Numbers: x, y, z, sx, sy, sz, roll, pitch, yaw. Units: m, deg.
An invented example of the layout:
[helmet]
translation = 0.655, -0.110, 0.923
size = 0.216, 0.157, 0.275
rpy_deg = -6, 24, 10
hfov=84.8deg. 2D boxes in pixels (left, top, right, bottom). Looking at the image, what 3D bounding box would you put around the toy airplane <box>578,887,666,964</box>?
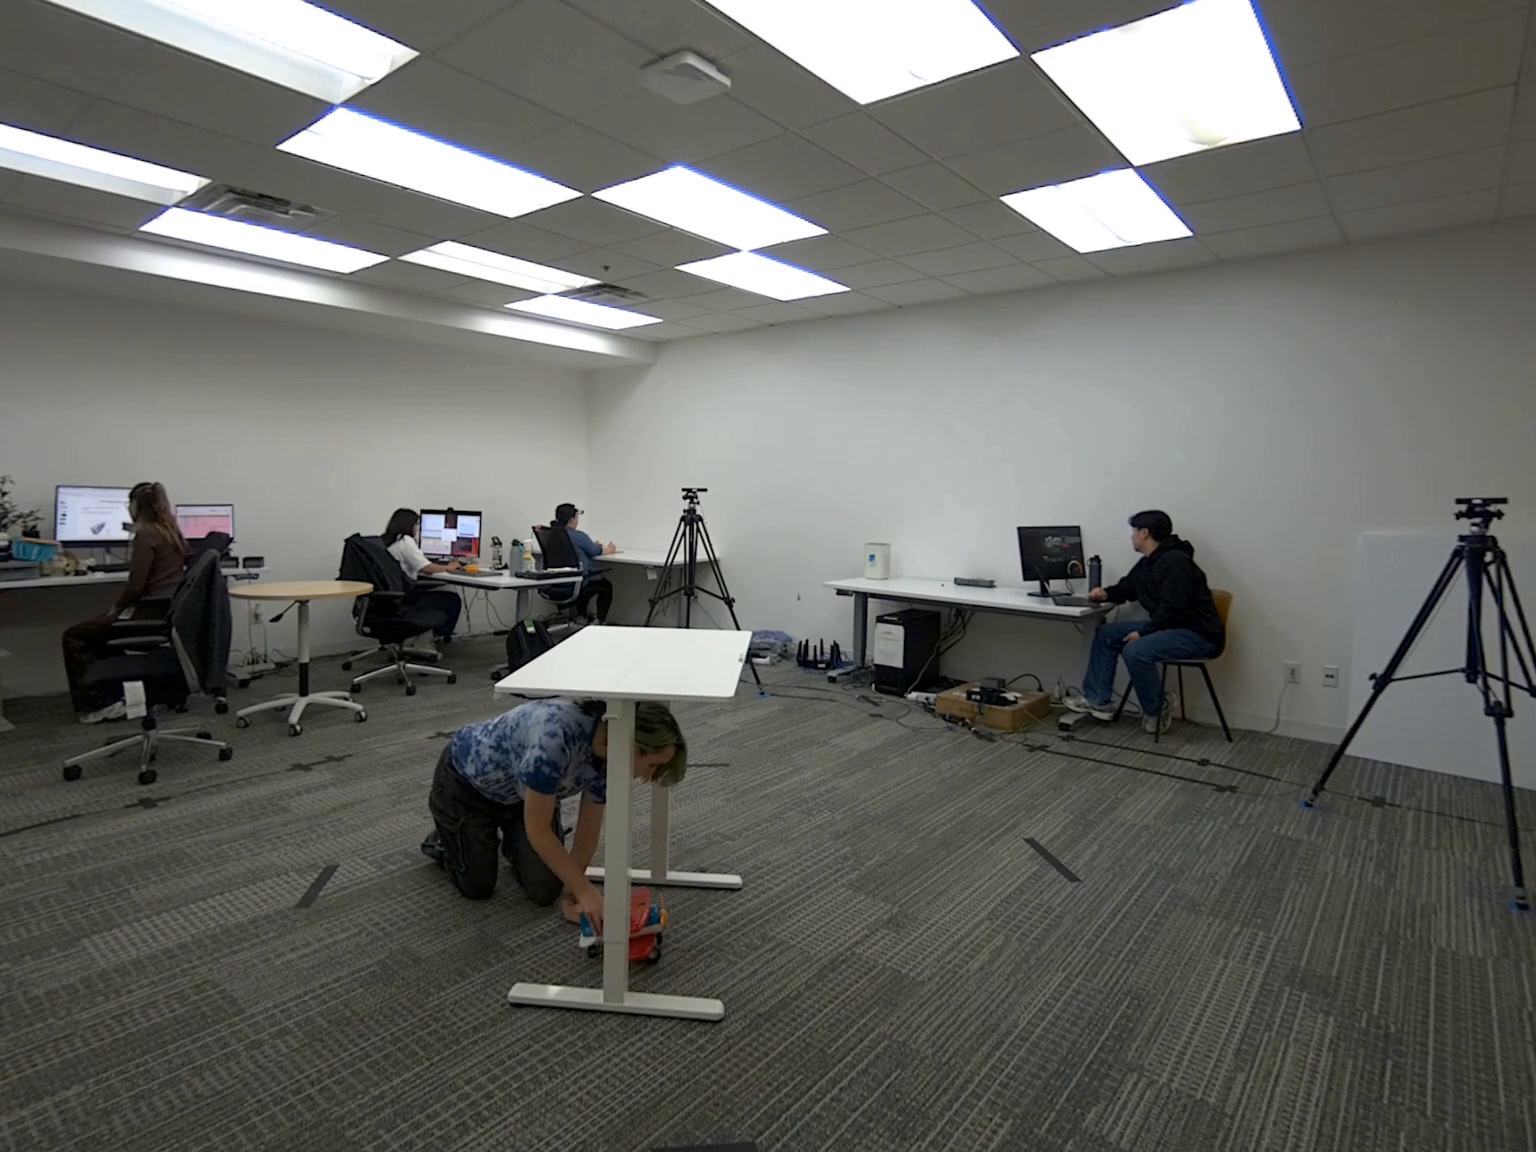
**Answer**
[toy airplane]
translation = -0.437, 1.059, 2.500
size = 0.252, 0.155, 0.259
rpy_deg = -3, 8, -31
